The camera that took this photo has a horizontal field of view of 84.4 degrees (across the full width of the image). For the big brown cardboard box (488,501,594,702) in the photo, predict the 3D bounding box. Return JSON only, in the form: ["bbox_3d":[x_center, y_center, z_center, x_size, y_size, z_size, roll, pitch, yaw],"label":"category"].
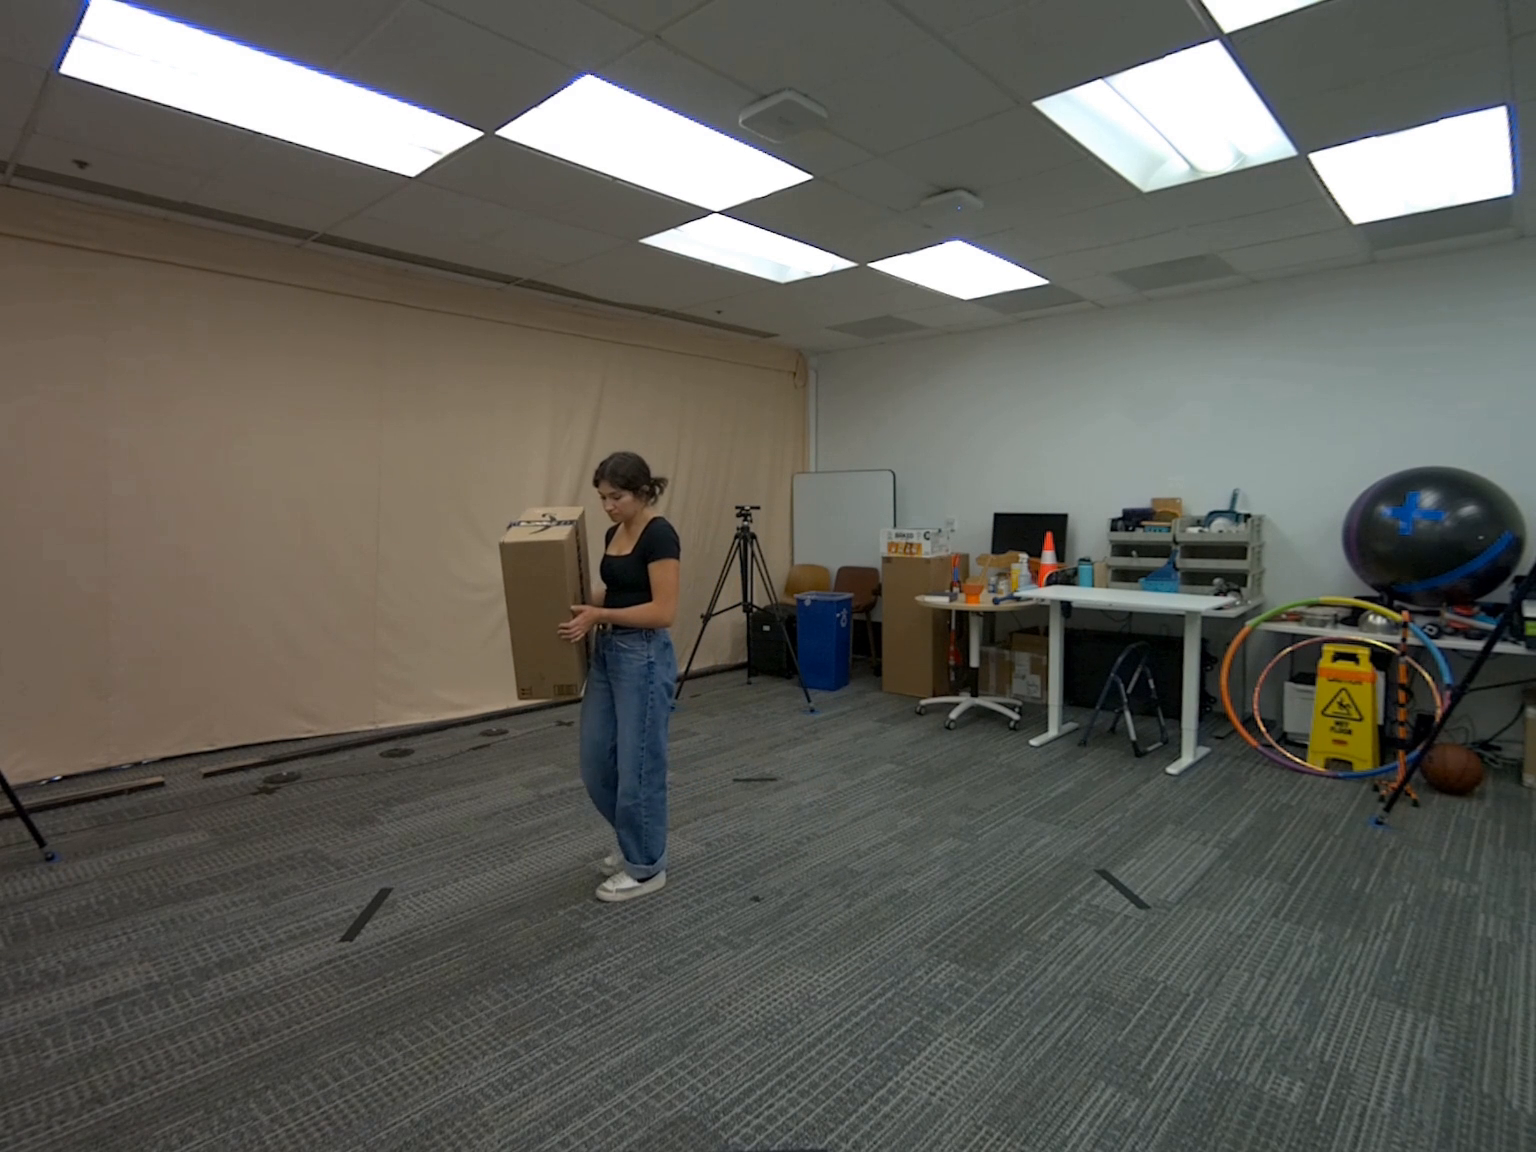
[{"bbox_3d":[-0.775,0.075,2.981,0.233,0.583,0.421,-3,16,0],"label":"big brown cardboard box"}]
